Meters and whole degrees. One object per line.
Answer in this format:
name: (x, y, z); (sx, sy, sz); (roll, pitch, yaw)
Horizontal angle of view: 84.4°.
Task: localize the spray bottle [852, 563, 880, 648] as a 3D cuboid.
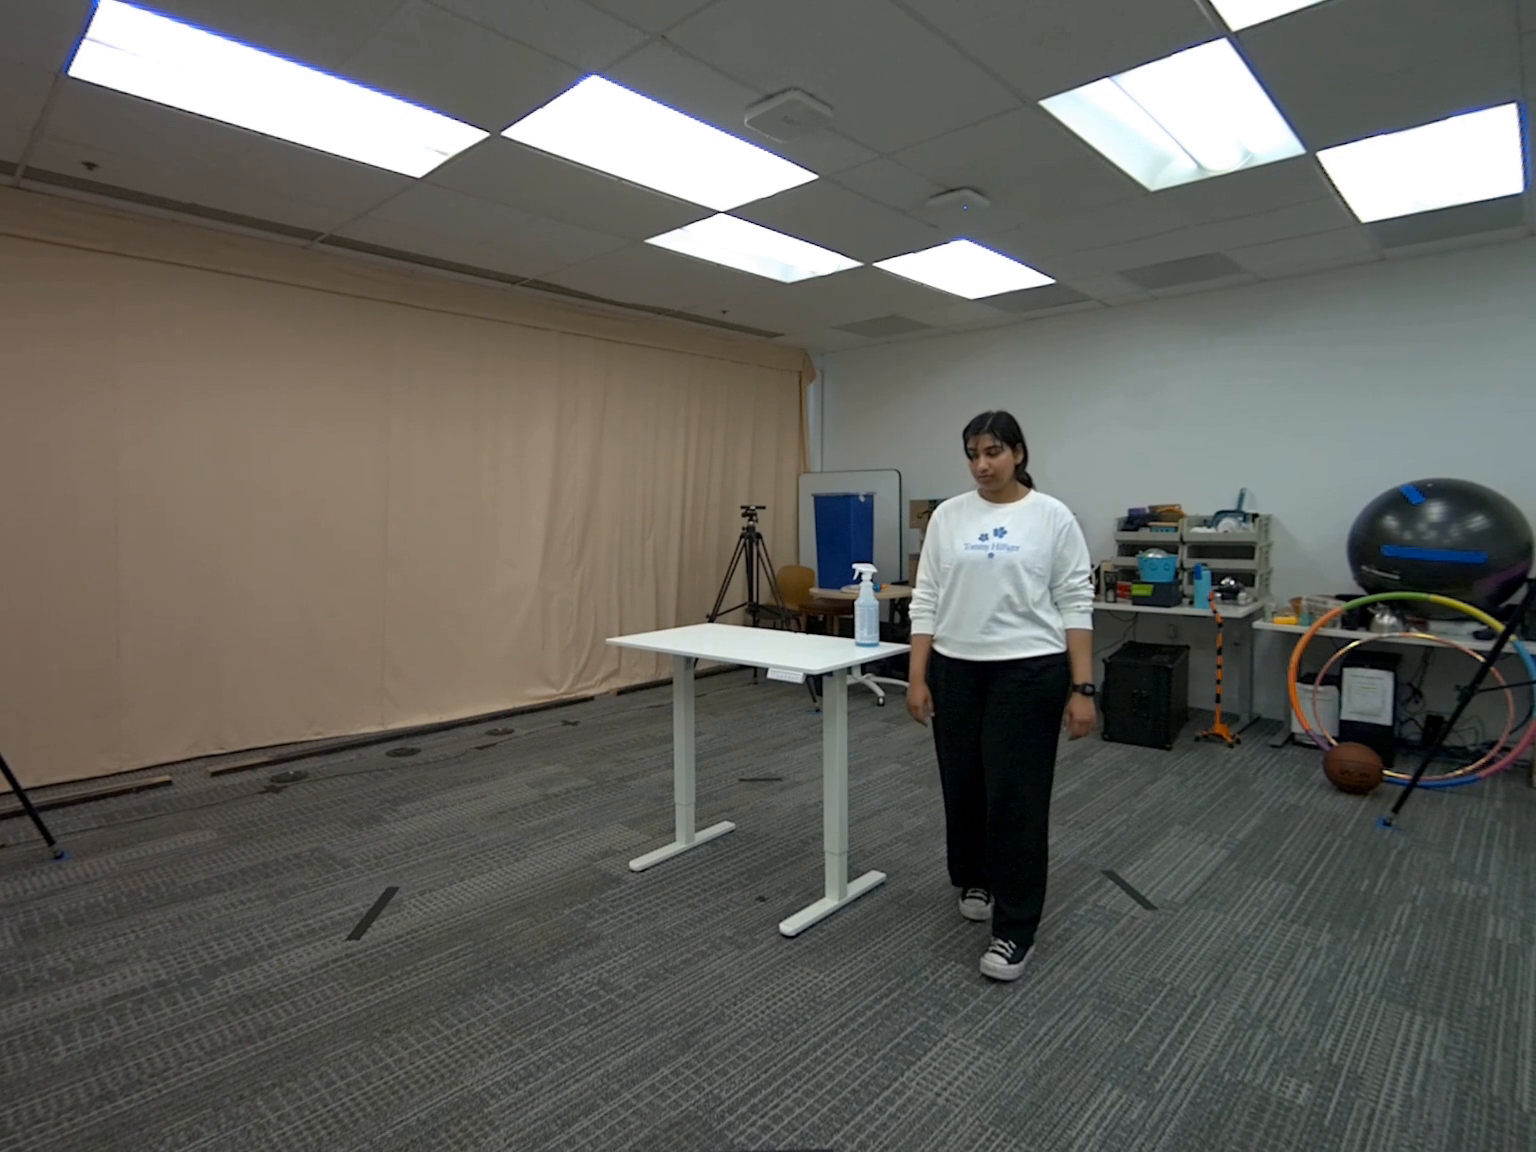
spray bottle: (0.361, 0.105, 3.042); (0.091, 0.297, 0.086); (-1, 3, 12)
